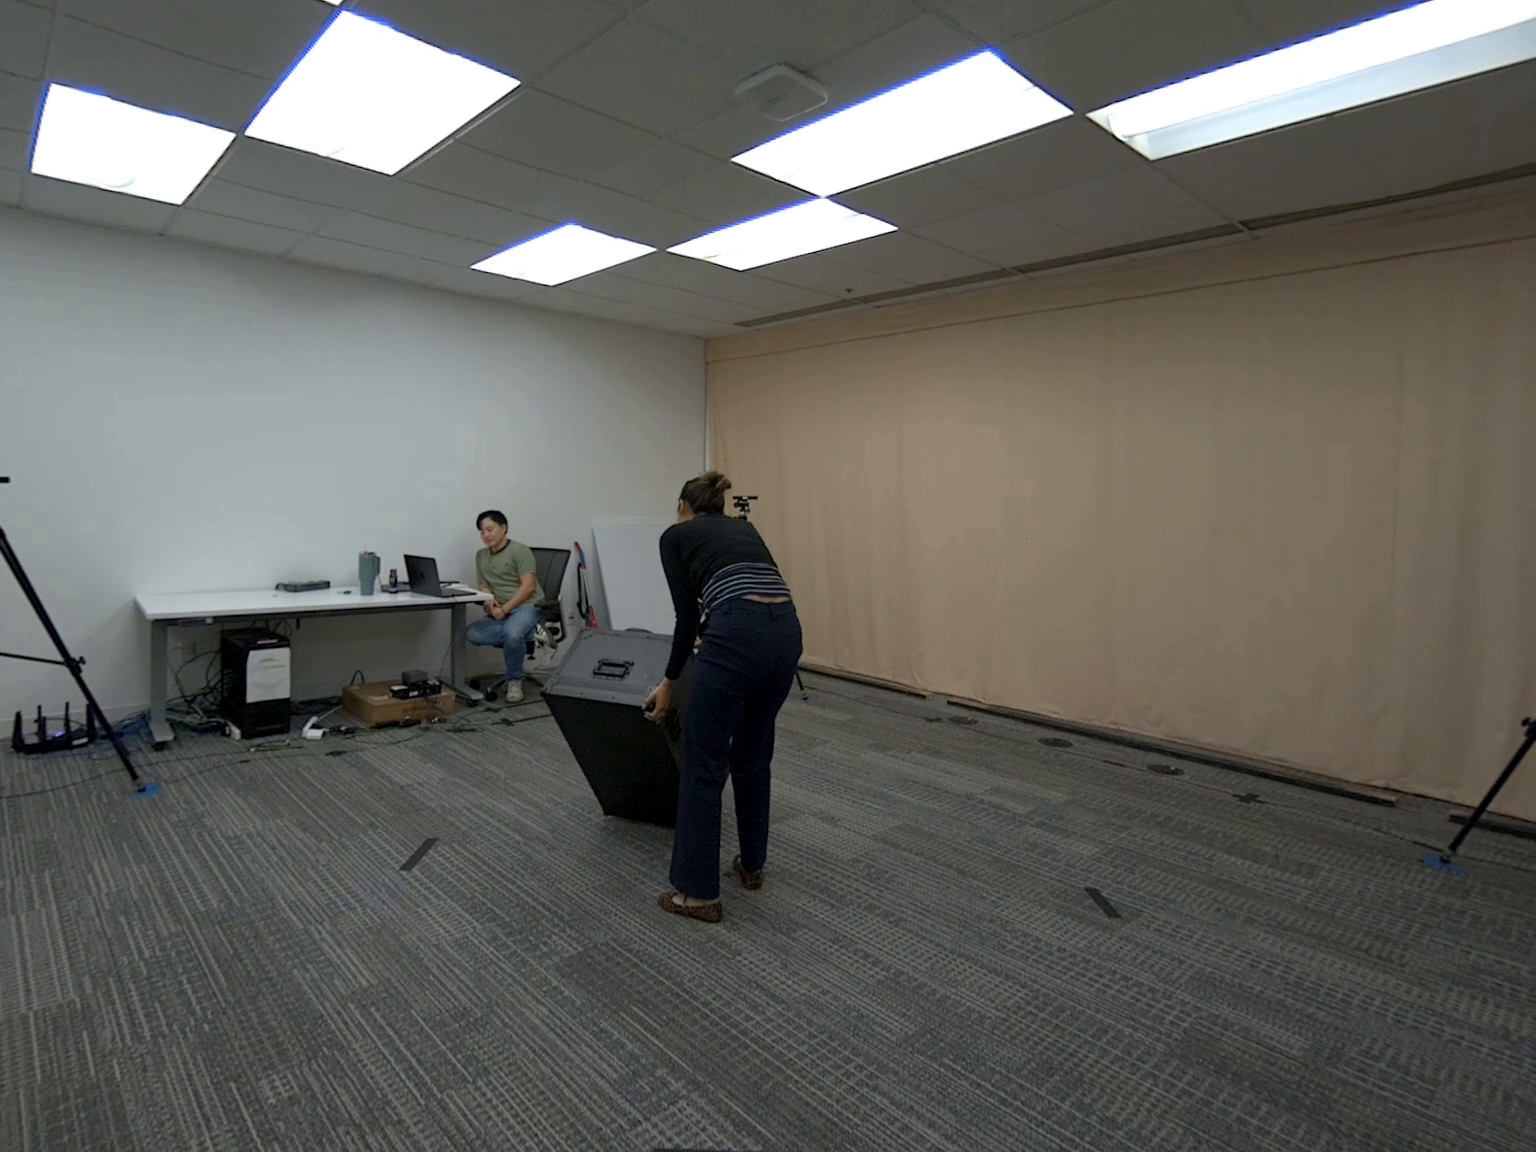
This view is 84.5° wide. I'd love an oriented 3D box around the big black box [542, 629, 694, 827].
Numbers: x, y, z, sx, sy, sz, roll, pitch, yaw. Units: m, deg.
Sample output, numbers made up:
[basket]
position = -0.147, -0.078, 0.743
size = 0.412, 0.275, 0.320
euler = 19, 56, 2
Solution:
[big black box]
position = -0.500, 0.647, 3.436
size = 0.531, 0.839, 0.399
euler = 4, 40, 22
